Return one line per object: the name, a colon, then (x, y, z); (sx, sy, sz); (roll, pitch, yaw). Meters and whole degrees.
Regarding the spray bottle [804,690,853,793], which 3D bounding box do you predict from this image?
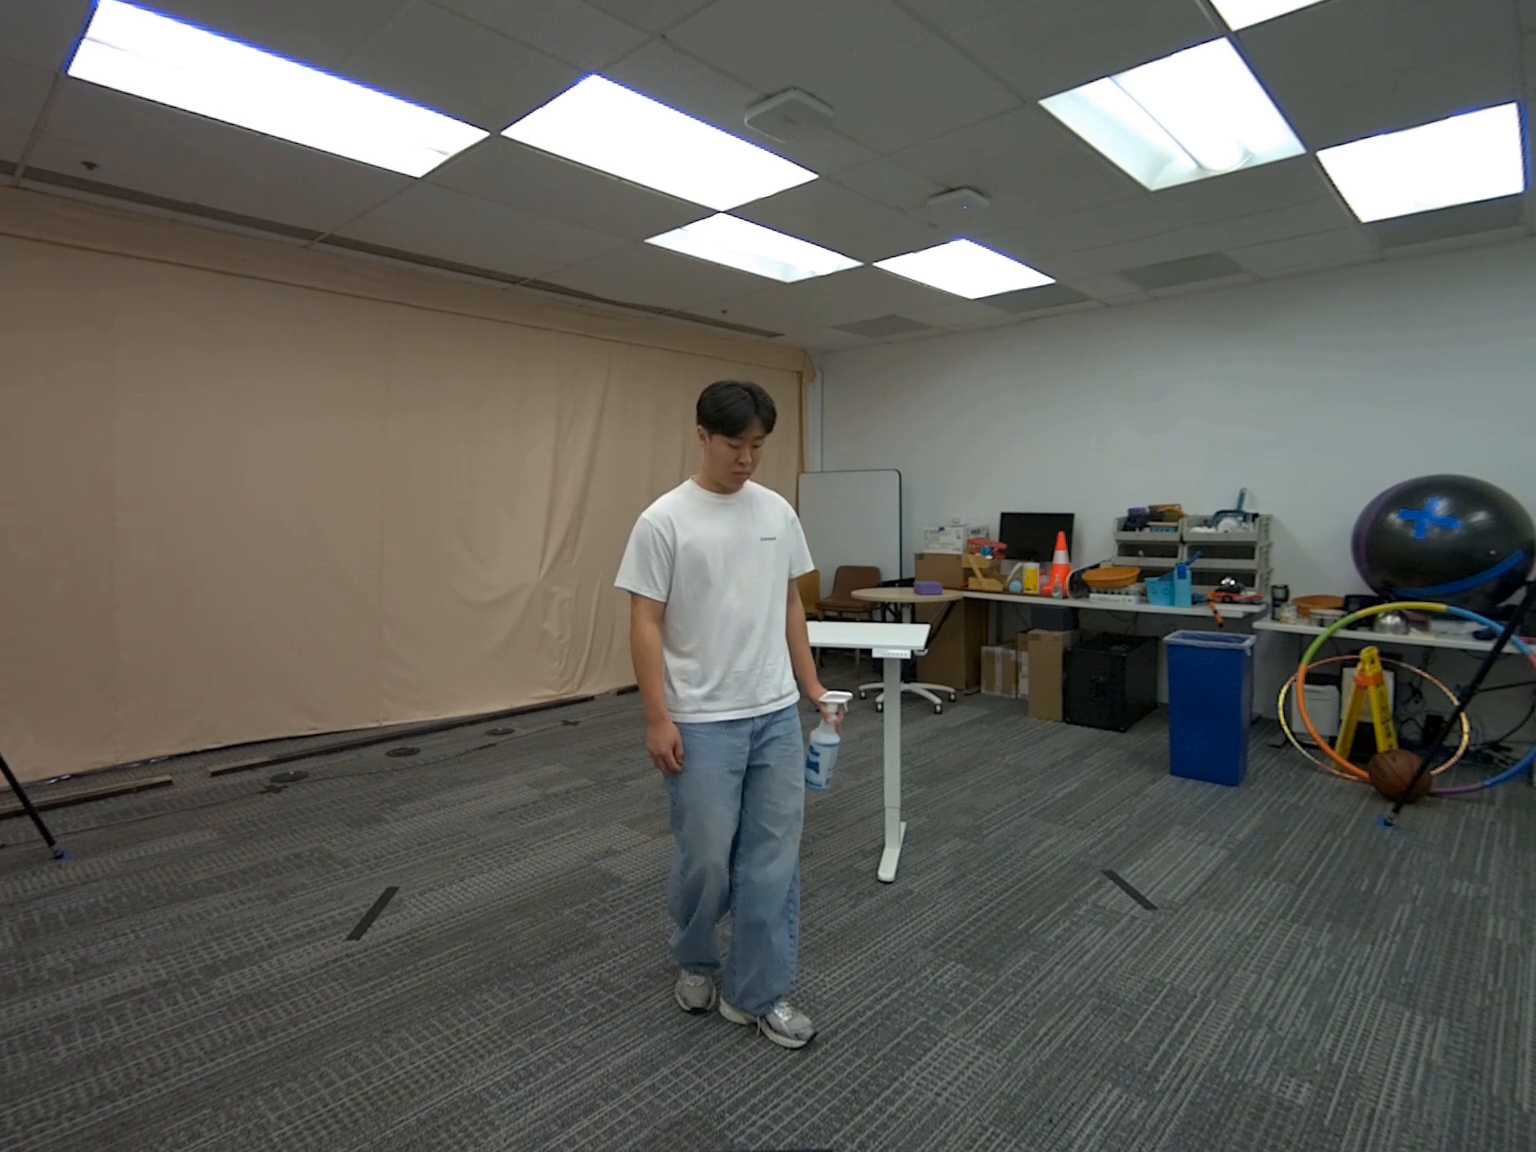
spray bottle: (0.154, 0.468, 2.430); (0.092, 0.295, 0.086); (11, 14, 15)
